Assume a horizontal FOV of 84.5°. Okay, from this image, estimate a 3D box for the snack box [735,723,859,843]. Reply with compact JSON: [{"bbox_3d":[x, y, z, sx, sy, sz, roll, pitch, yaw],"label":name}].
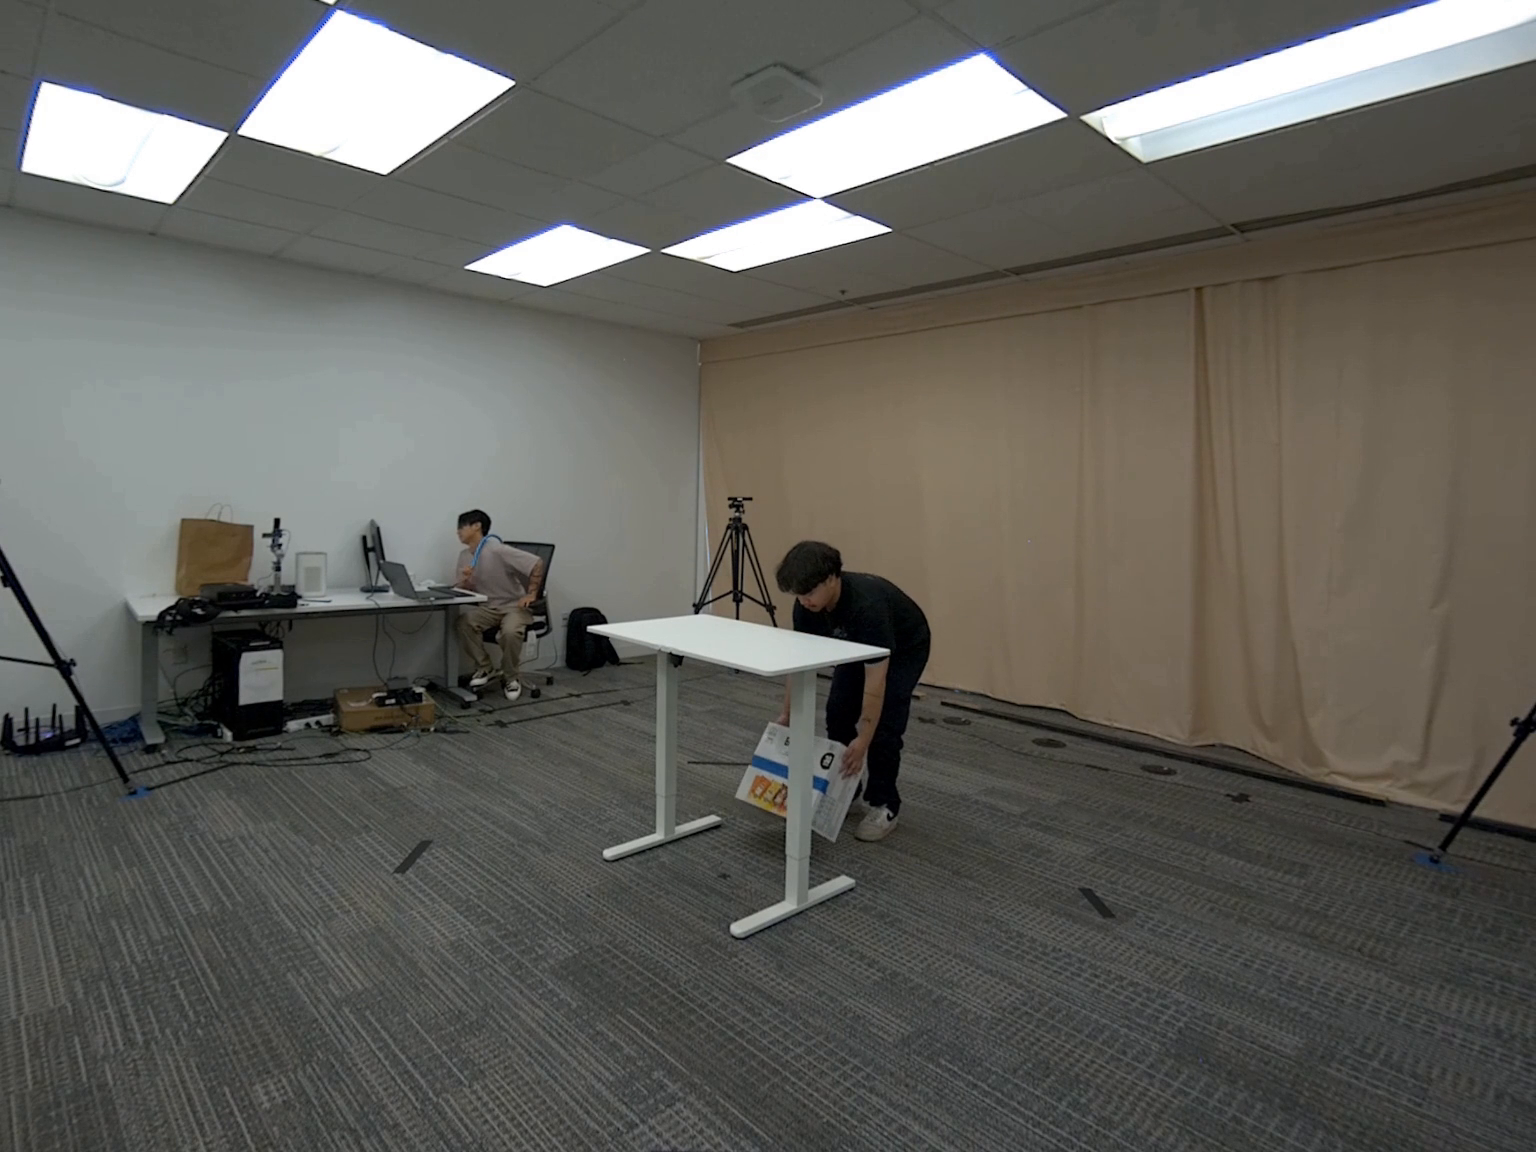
[{"bbox_3d":[0.126,0.828,3.426,0.415,0.342,0.199,6,-27,46],"label":"snack box"}]
